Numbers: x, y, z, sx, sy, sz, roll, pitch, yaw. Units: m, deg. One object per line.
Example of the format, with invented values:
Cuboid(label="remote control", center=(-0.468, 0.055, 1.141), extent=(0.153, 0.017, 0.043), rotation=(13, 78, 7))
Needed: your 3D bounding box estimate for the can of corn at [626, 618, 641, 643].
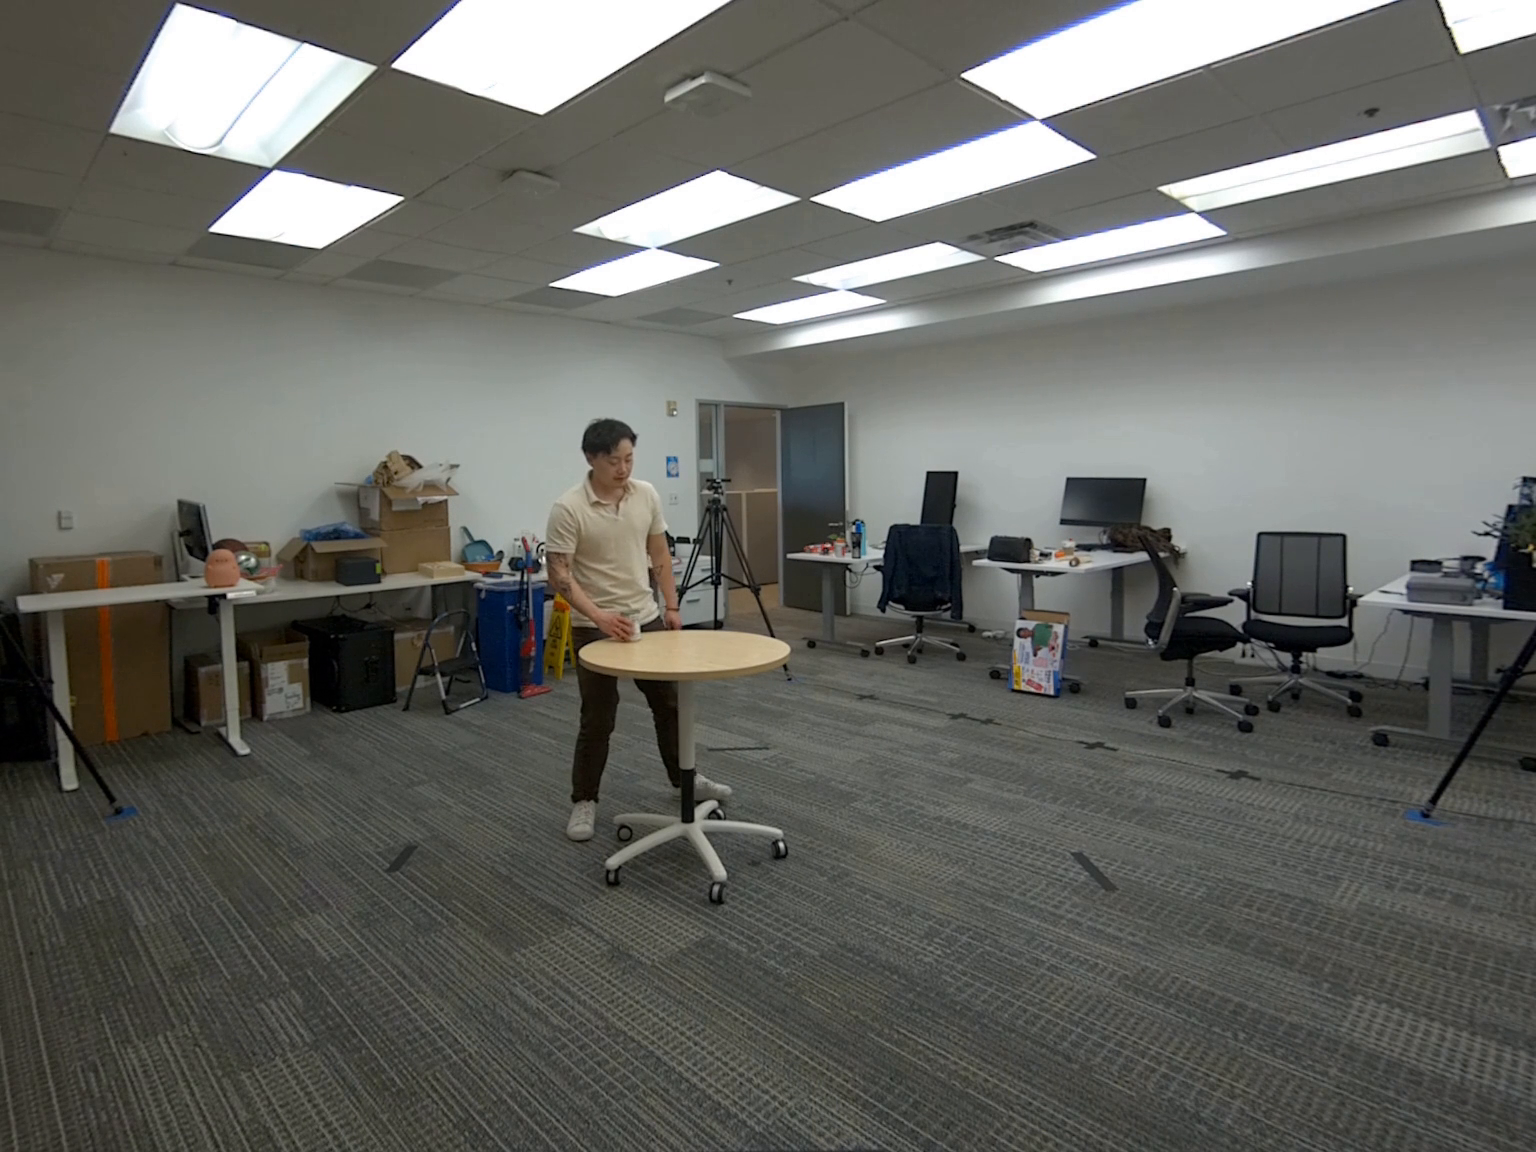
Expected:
Cuboid(label="can of corn", center=(-0.543, 0.199, 3.270), extent=(0.074, 0.111, 0.074), rotation=(-4, 2, -1))
